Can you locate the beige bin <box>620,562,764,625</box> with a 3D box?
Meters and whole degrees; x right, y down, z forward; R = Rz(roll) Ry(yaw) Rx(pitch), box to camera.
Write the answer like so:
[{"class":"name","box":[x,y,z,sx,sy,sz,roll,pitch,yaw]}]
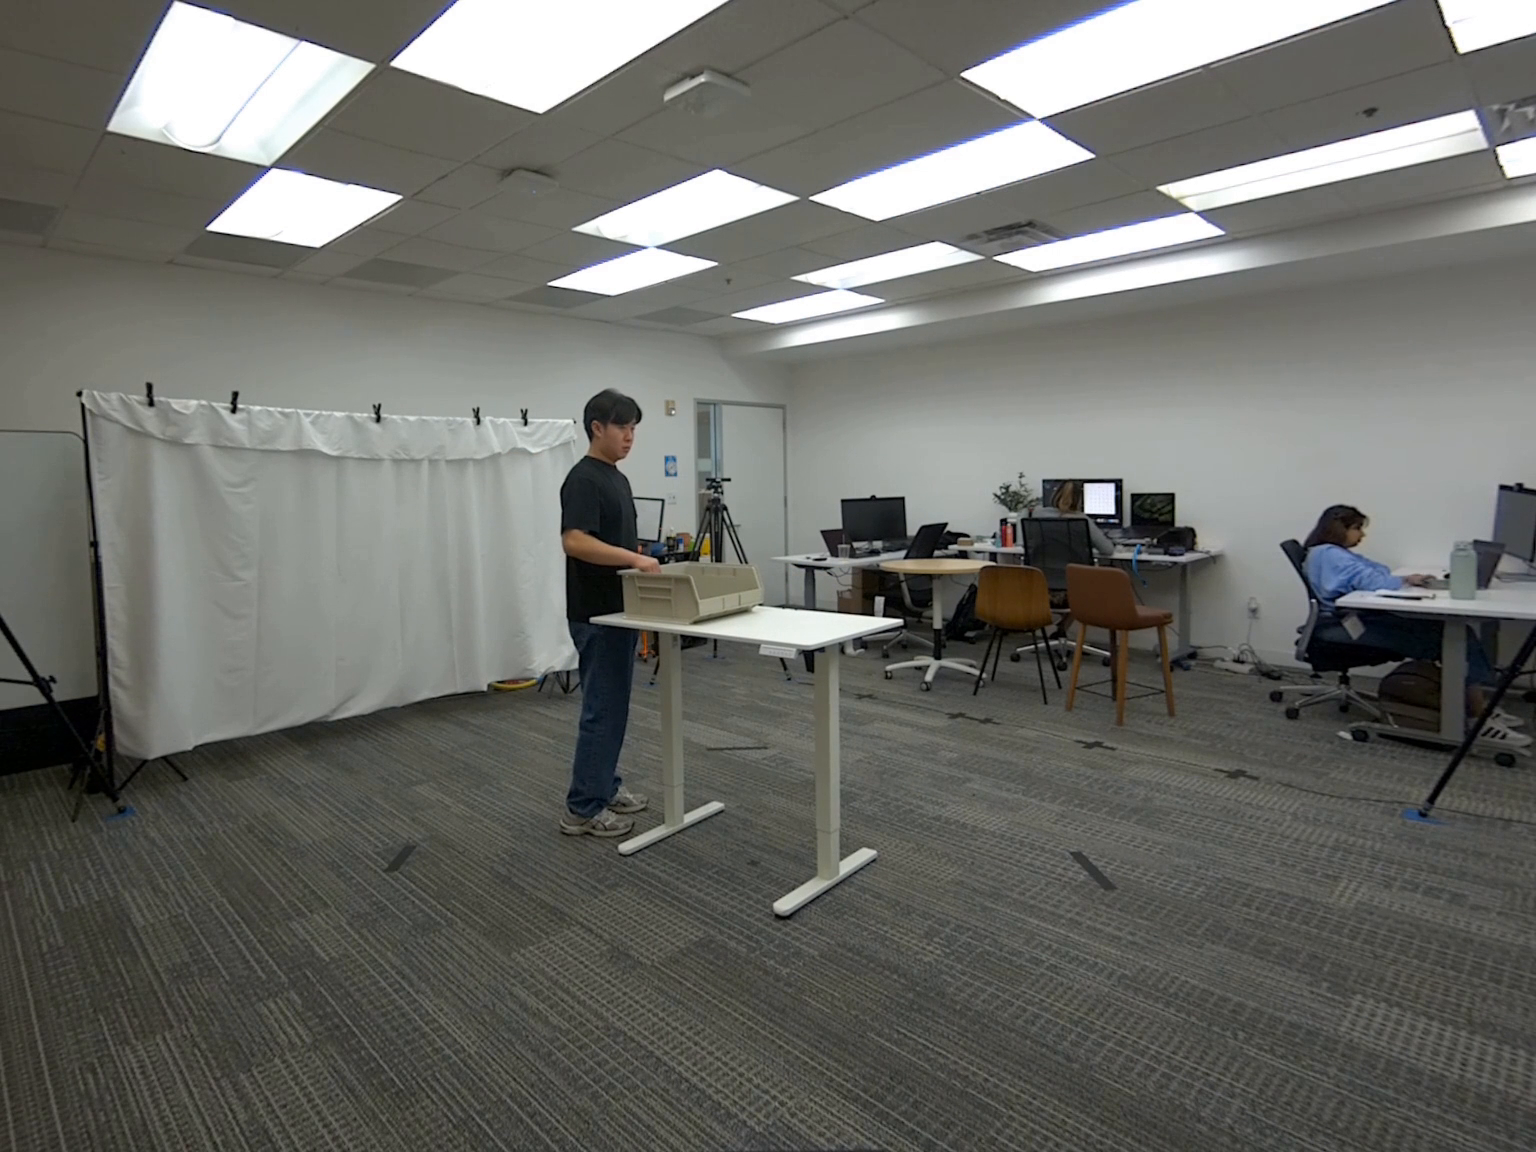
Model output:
[{"class":"beige bin","box":[-0.285,0.063,3.236,0.388,0.188,0.412,1,7,34]}]
